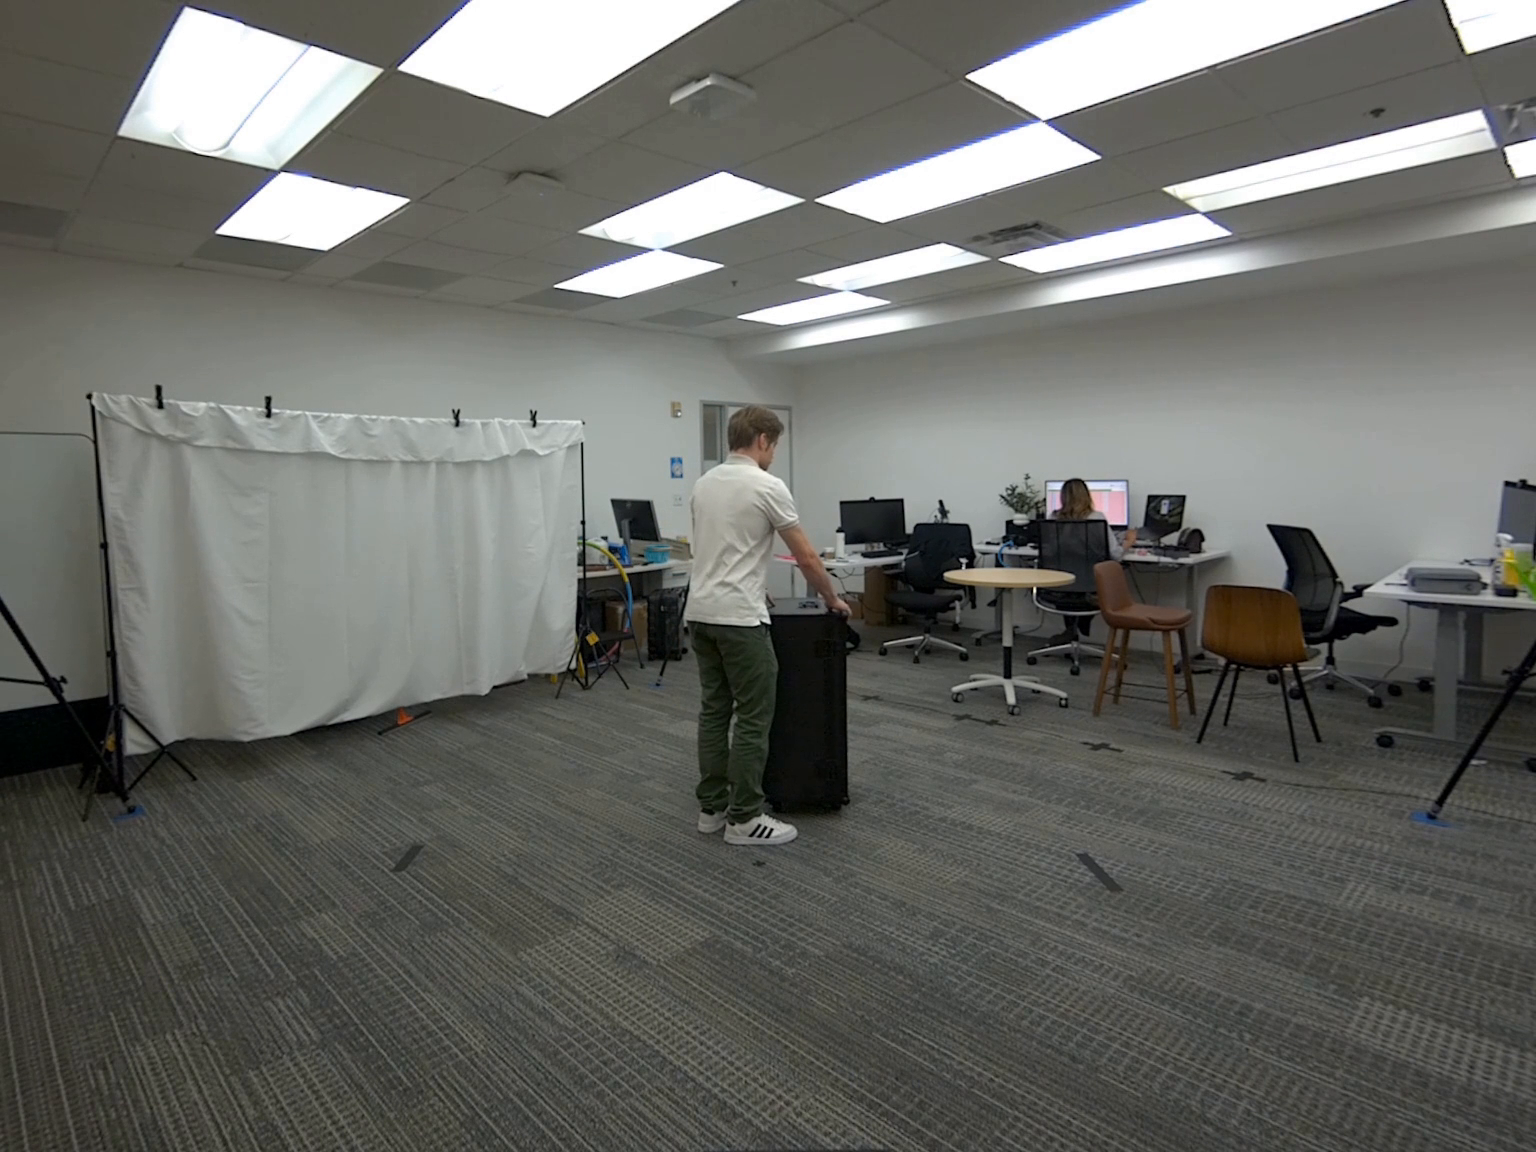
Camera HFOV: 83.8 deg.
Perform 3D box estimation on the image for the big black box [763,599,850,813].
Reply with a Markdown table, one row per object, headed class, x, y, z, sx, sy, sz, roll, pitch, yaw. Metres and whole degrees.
| class | x | y | z | sx | sy | sz | roll | pitch | yaw |
| --- | --- | --- | --- | --- | --- | --- | --- | --- | --- |
| big black box | 0.158 | 0.553 | 3.711 | 0.387 | 0.865 | 0.523 | 0 | 5 | 3 |
